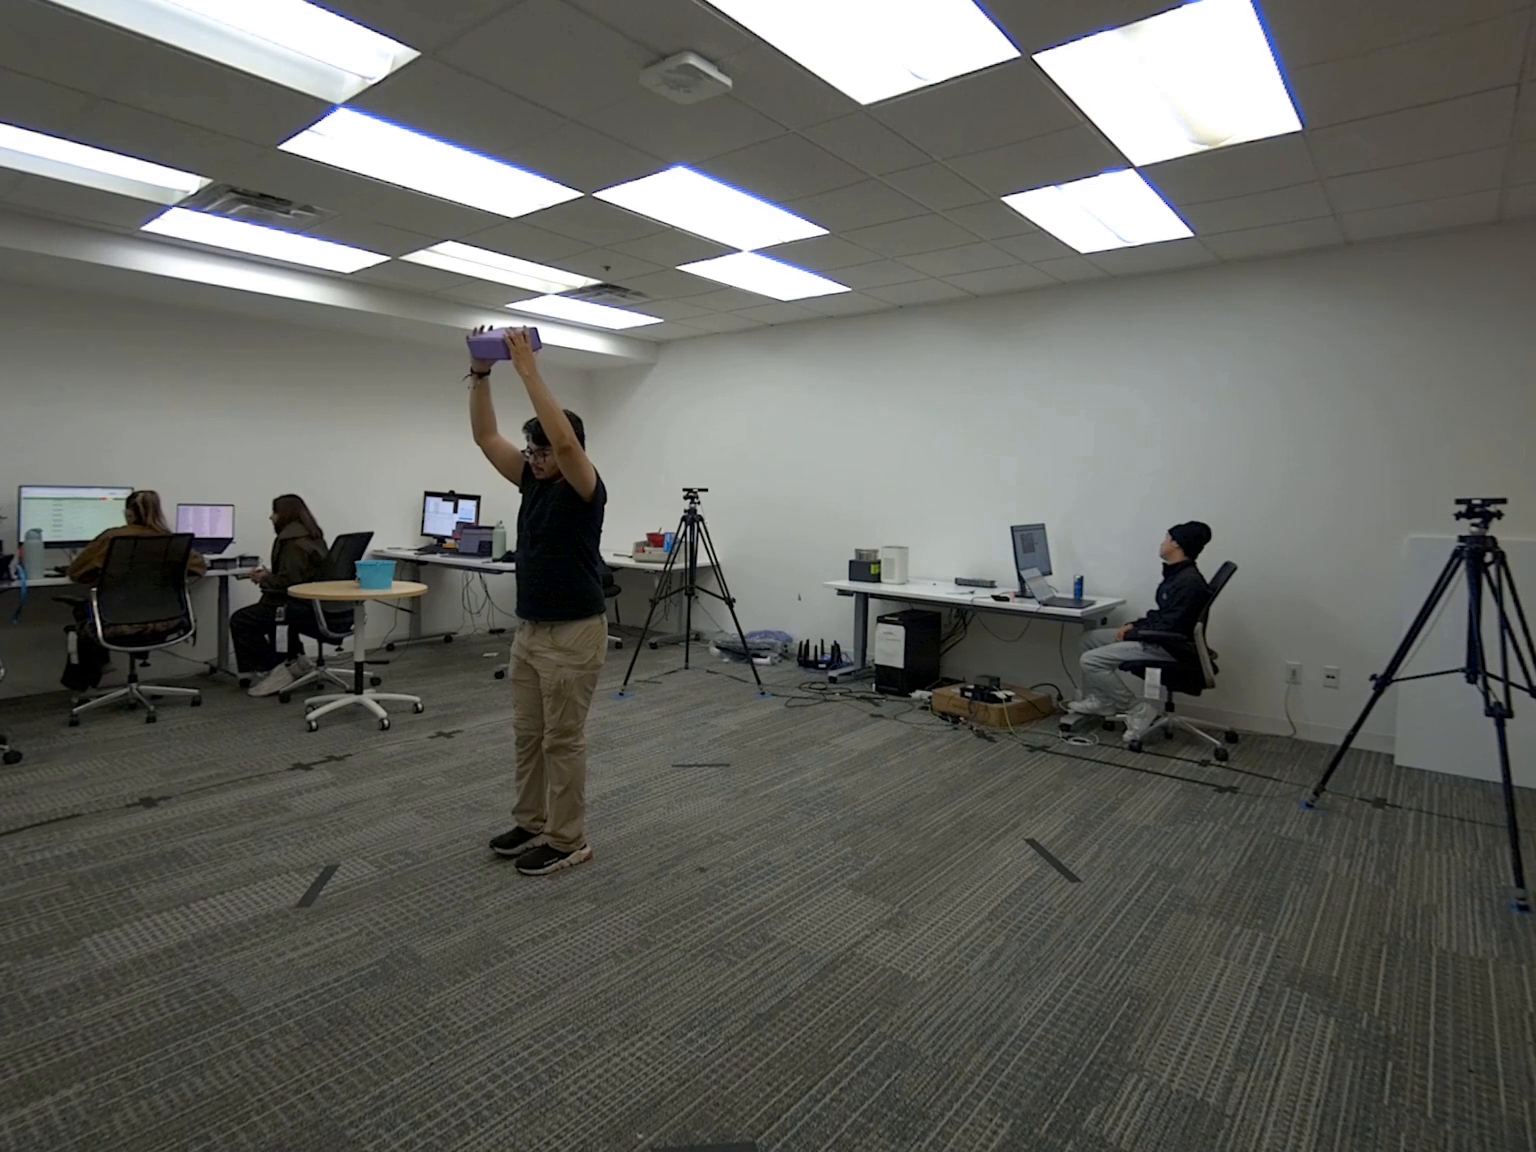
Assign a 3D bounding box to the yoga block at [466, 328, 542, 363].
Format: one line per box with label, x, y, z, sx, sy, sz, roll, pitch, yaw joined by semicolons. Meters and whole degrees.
yoga block;-0.897;-0.792;2.878;0.238;0.074;0.147;13;34;37
